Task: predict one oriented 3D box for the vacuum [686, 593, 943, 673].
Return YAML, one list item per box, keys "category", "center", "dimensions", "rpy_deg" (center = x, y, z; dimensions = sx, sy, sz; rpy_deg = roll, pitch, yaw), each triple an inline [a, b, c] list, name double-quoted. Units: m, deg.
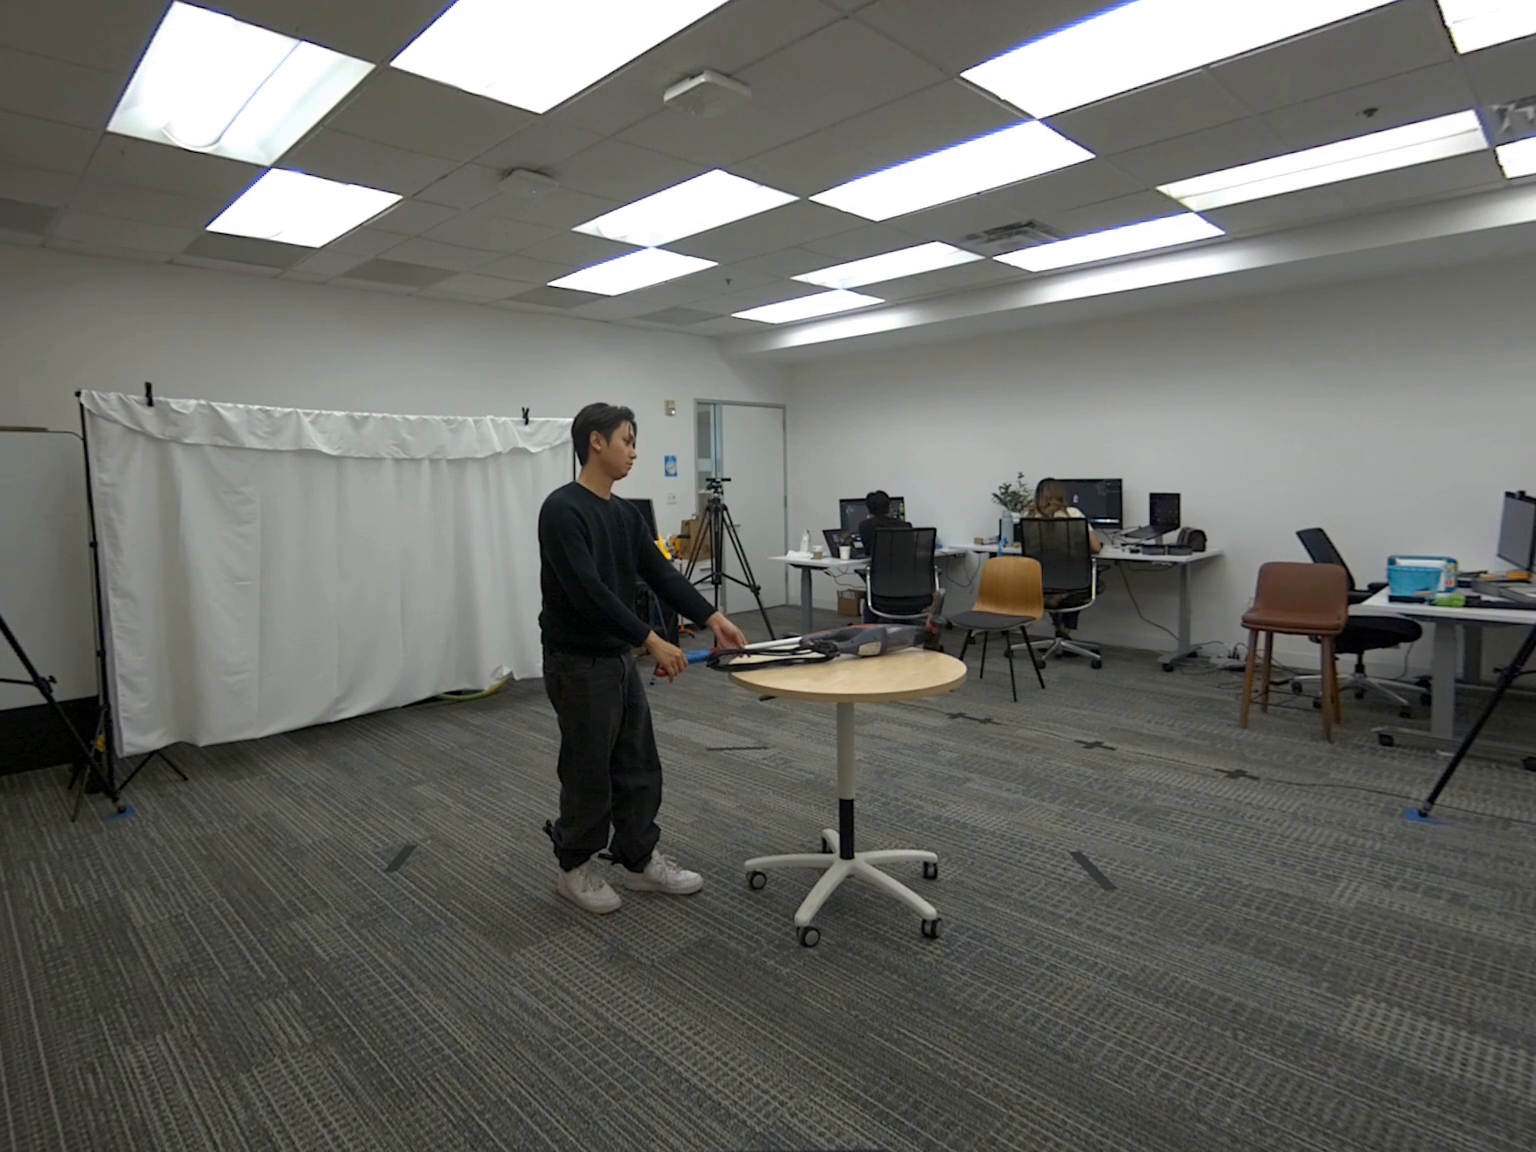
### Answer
- category: "vacuum"
  center: [0.149, 0.243, 2.837]
  dimensions: [1.030, 0.247, 0.149]
  rpy_deg: [-8, 33, -24]
